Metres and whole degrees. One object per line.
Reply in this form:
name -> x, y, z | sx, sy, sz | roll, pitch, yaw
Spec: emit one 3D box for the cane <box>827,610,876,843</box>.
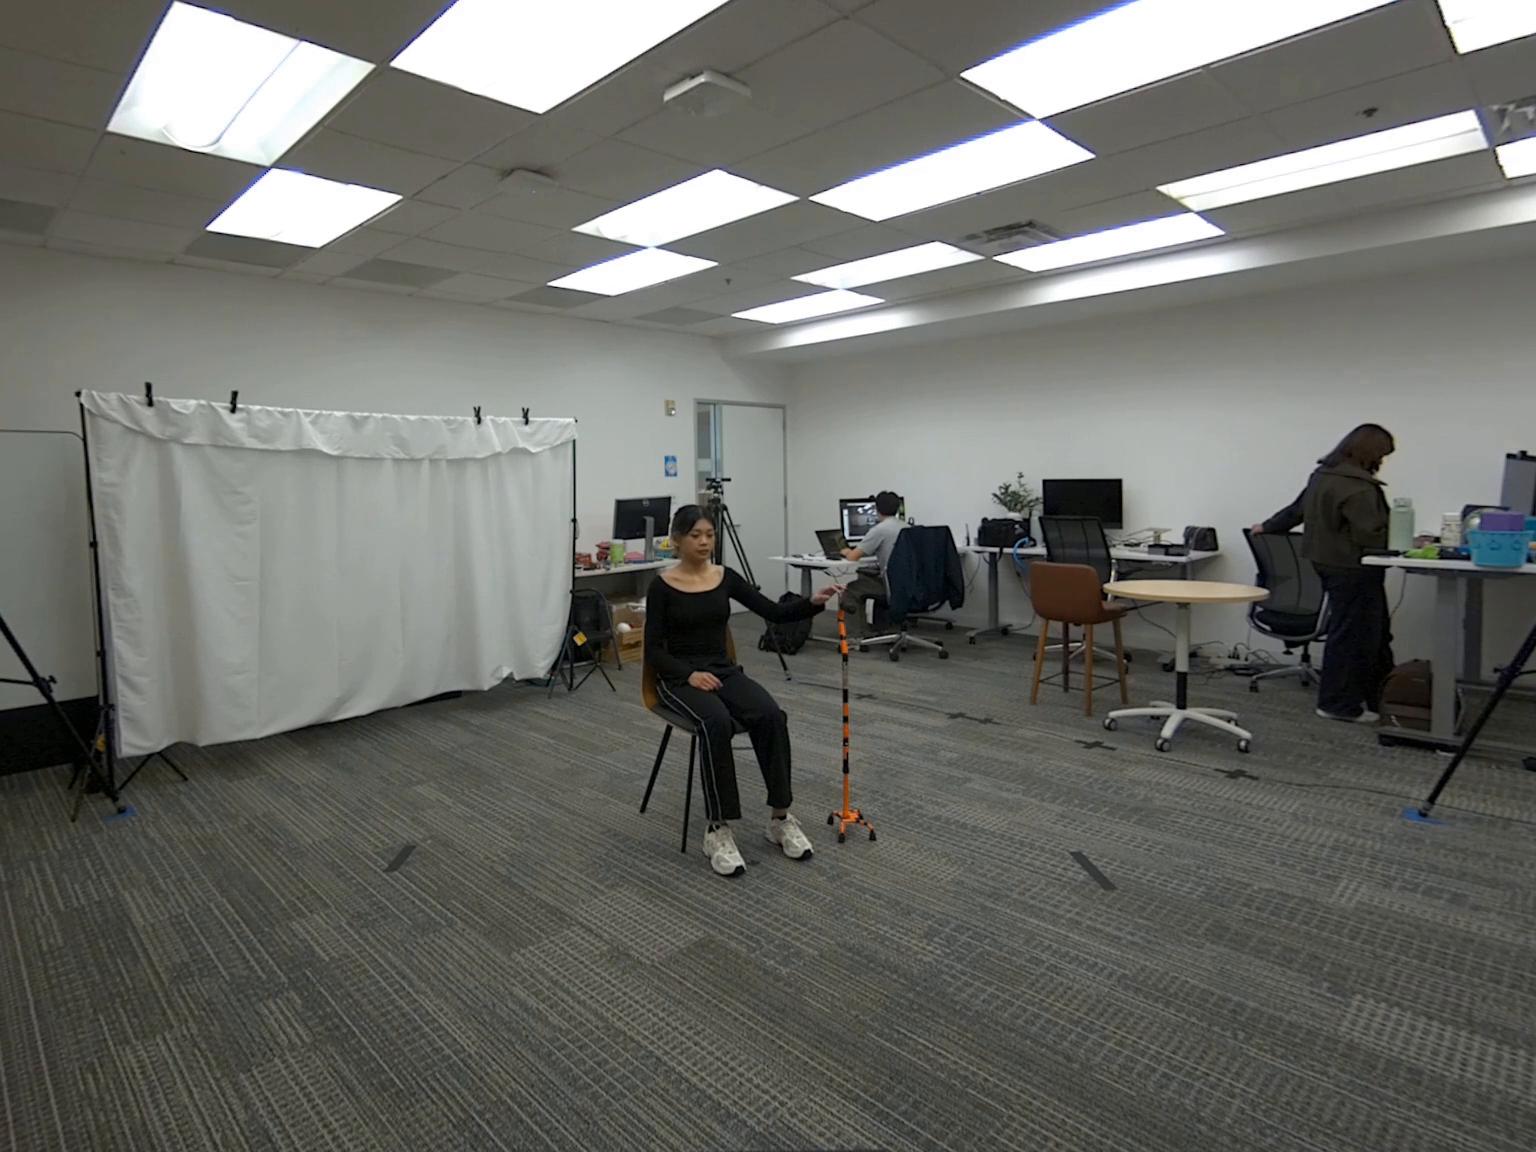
cane -> 0.314, 0.549, 3.336 | 0.150, 0.904, 0.209 | -1, 4, -10
